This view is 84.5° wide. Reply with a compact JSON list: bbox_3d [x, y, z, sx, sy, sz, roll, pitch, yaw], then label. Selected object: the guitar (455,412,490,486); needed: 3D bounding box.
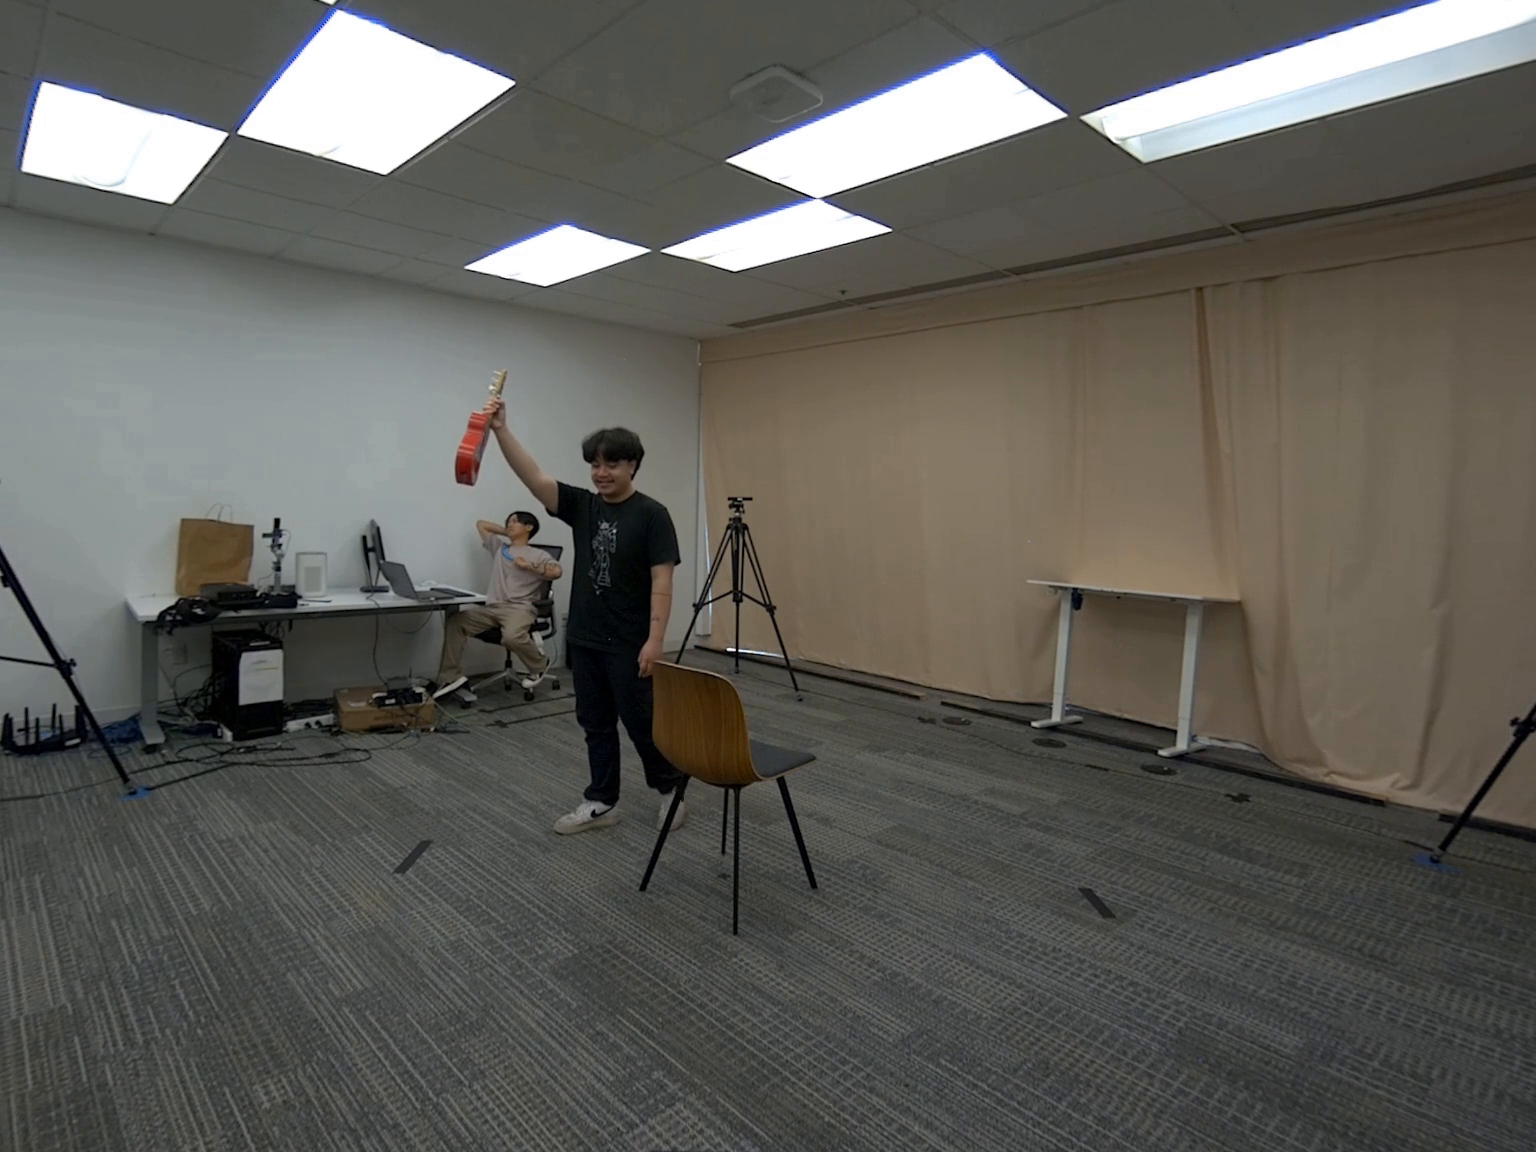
[{"bbox_3d":[-1.083,-0.559,3.171,0.070,0.507,0.191,11,-35,-9],"label":"guitar"}]
